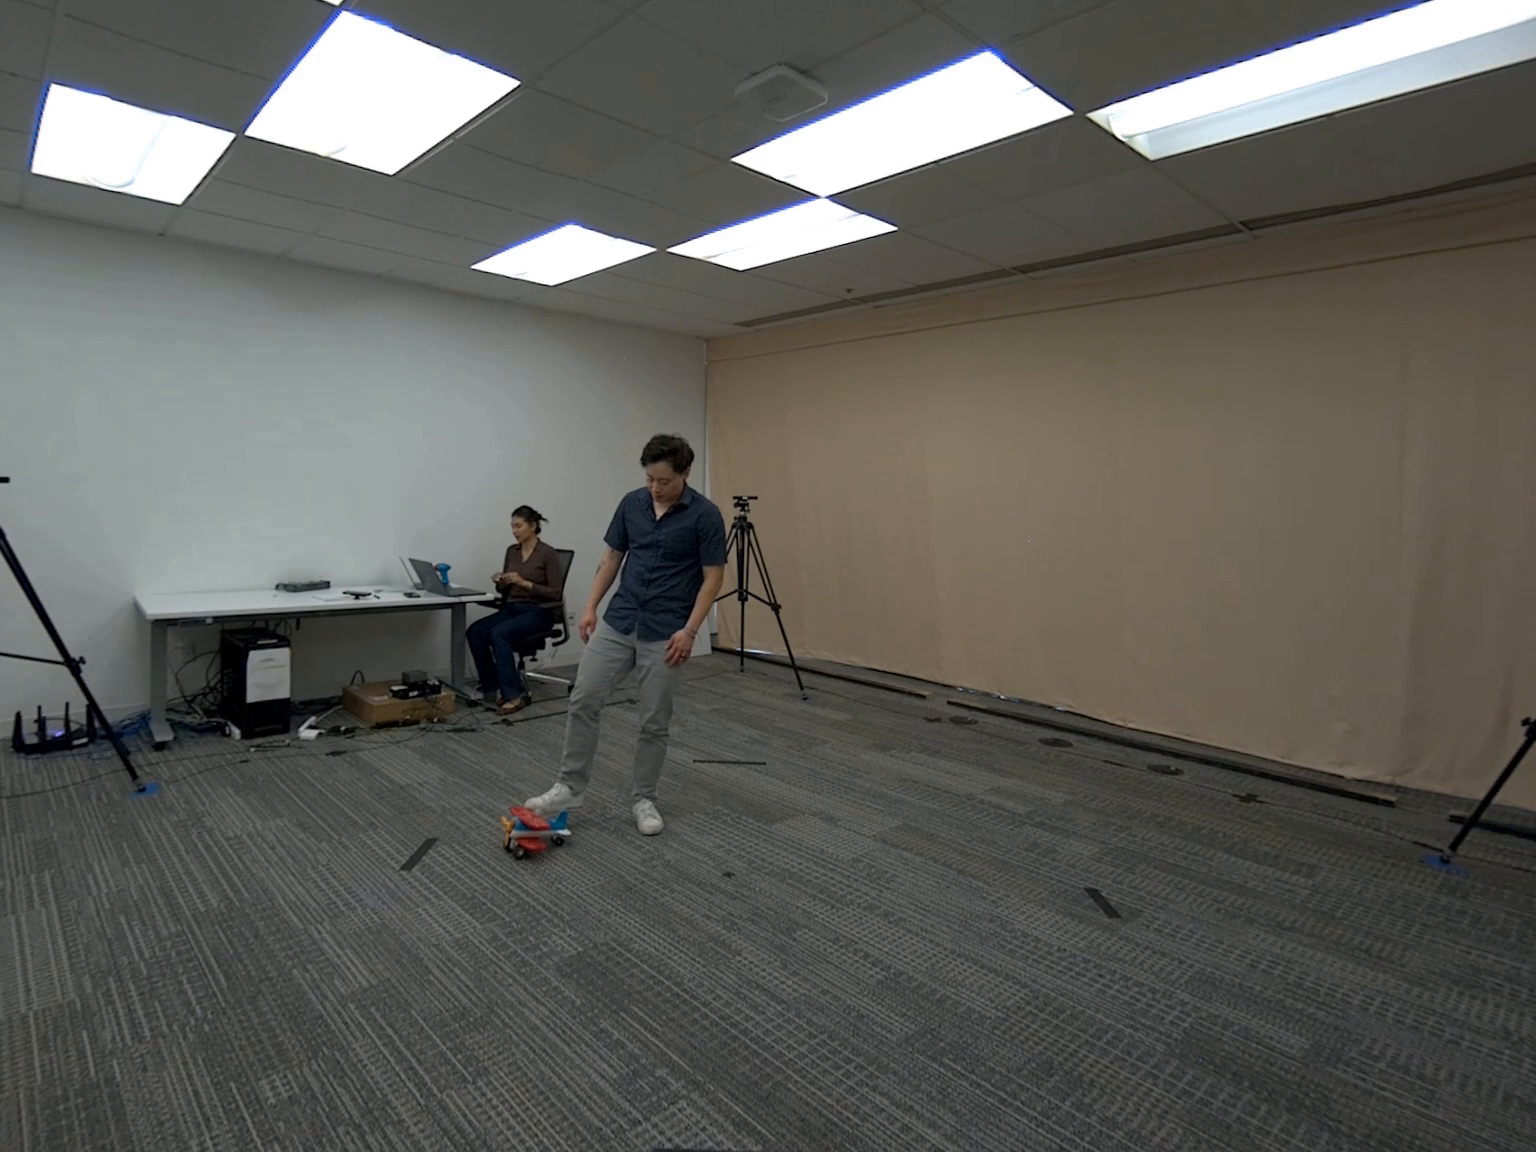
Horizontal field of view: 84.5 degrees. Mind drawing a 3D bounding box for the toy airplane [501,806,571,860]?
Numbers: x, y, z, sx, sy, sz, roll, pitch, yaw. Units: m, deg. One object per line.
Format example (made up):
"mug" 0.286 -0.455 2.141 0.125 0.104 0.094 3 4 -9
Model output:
"toy airplane" -0.933 0.996 3.293 0.255 0.156 0.255 3 5 22
